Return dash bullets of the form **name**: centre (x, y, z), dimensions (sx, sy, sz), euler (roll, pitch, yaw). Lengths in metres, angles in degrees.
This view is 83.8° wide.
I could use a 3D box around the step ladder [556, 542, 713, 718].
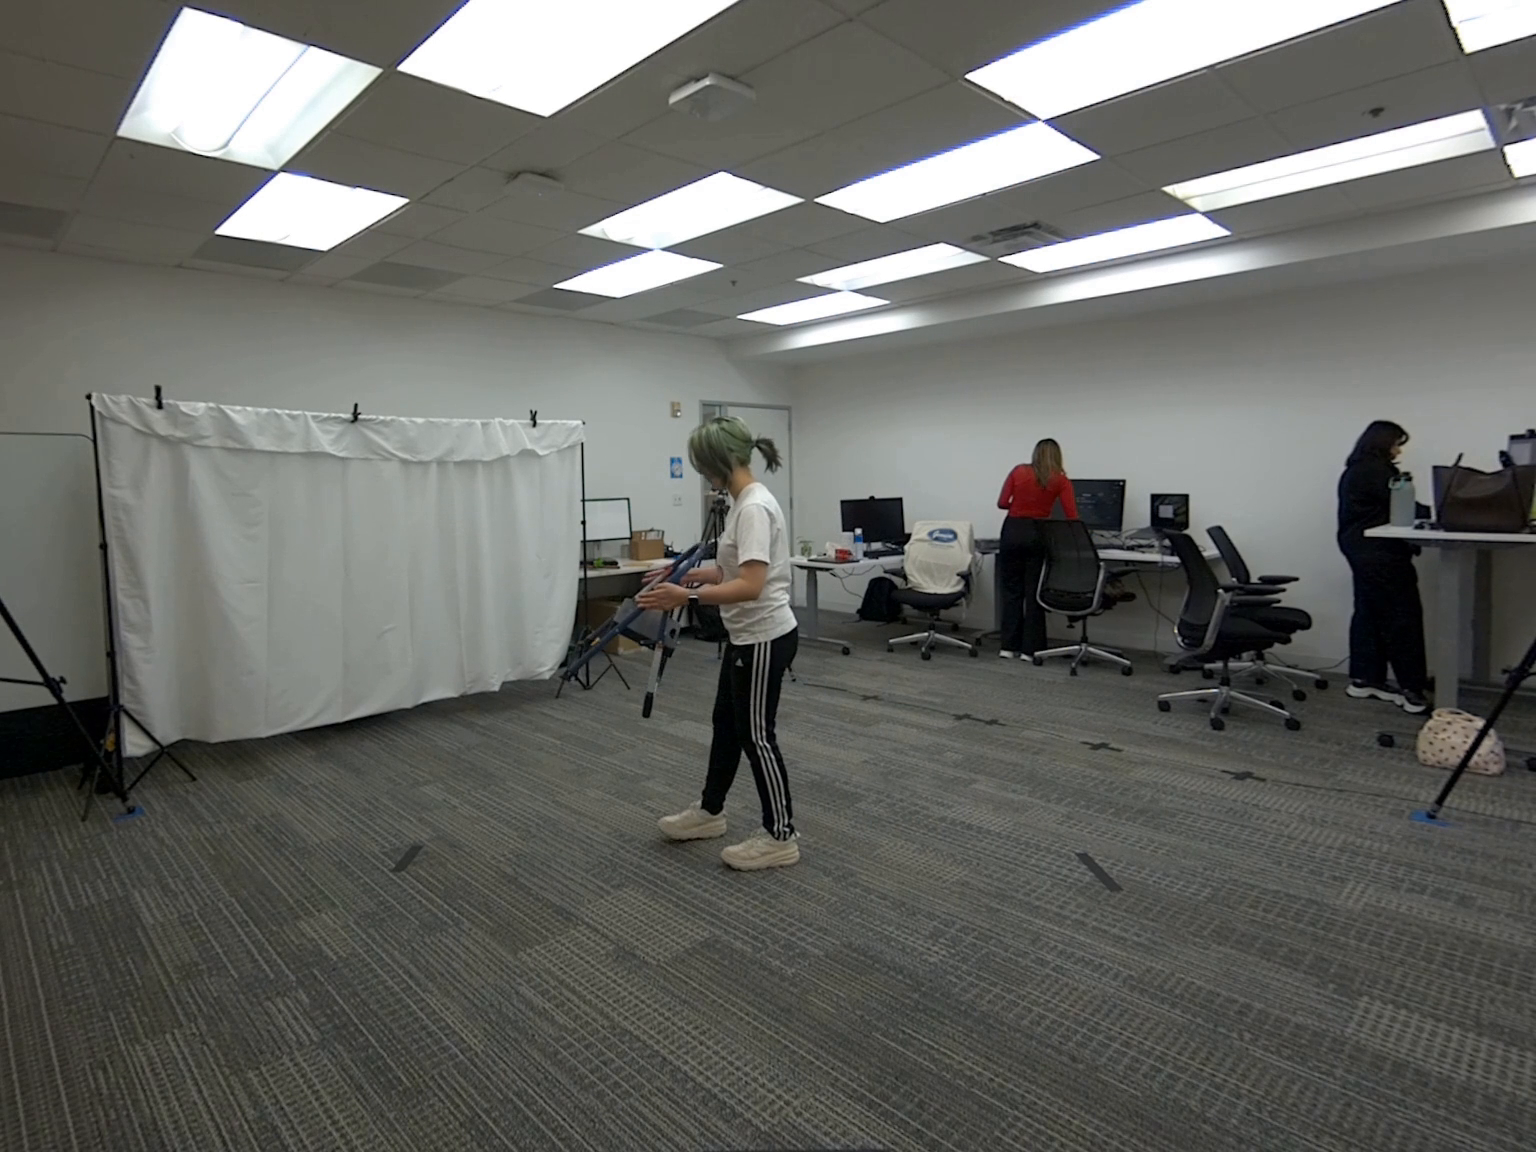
- **step ladder**: centre (-0.439, 0.129, 3.126), dimensions (0.347, 0.604, 0.435), euler (27, 10, -5)
